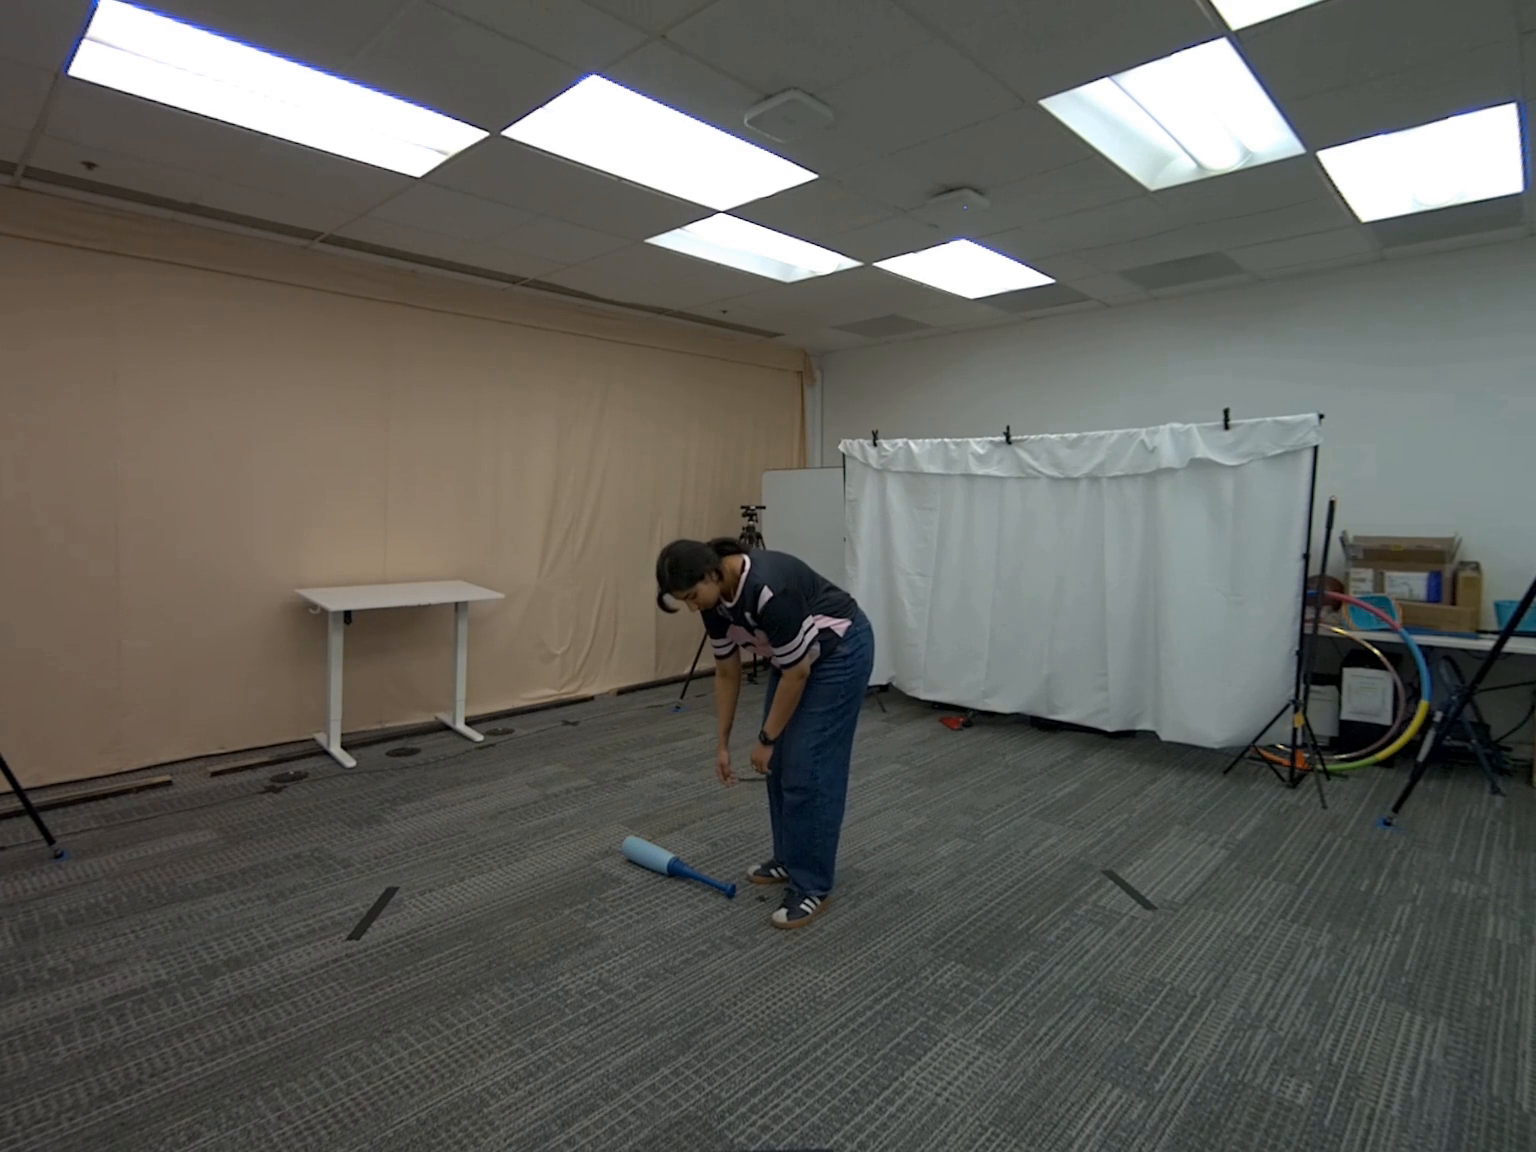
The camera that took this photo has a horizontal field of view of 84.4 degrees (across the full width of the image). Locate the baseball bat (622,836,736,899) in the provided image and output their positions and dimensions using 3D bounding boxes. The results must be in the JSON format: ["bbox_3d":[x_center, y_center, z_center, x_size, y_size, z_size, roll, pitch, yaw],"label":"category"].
[{"bbox_3d":[-0.338,1.100,3.155,0.561,0.089,0.086,7,7,40],"label":"baseball bat"}]
